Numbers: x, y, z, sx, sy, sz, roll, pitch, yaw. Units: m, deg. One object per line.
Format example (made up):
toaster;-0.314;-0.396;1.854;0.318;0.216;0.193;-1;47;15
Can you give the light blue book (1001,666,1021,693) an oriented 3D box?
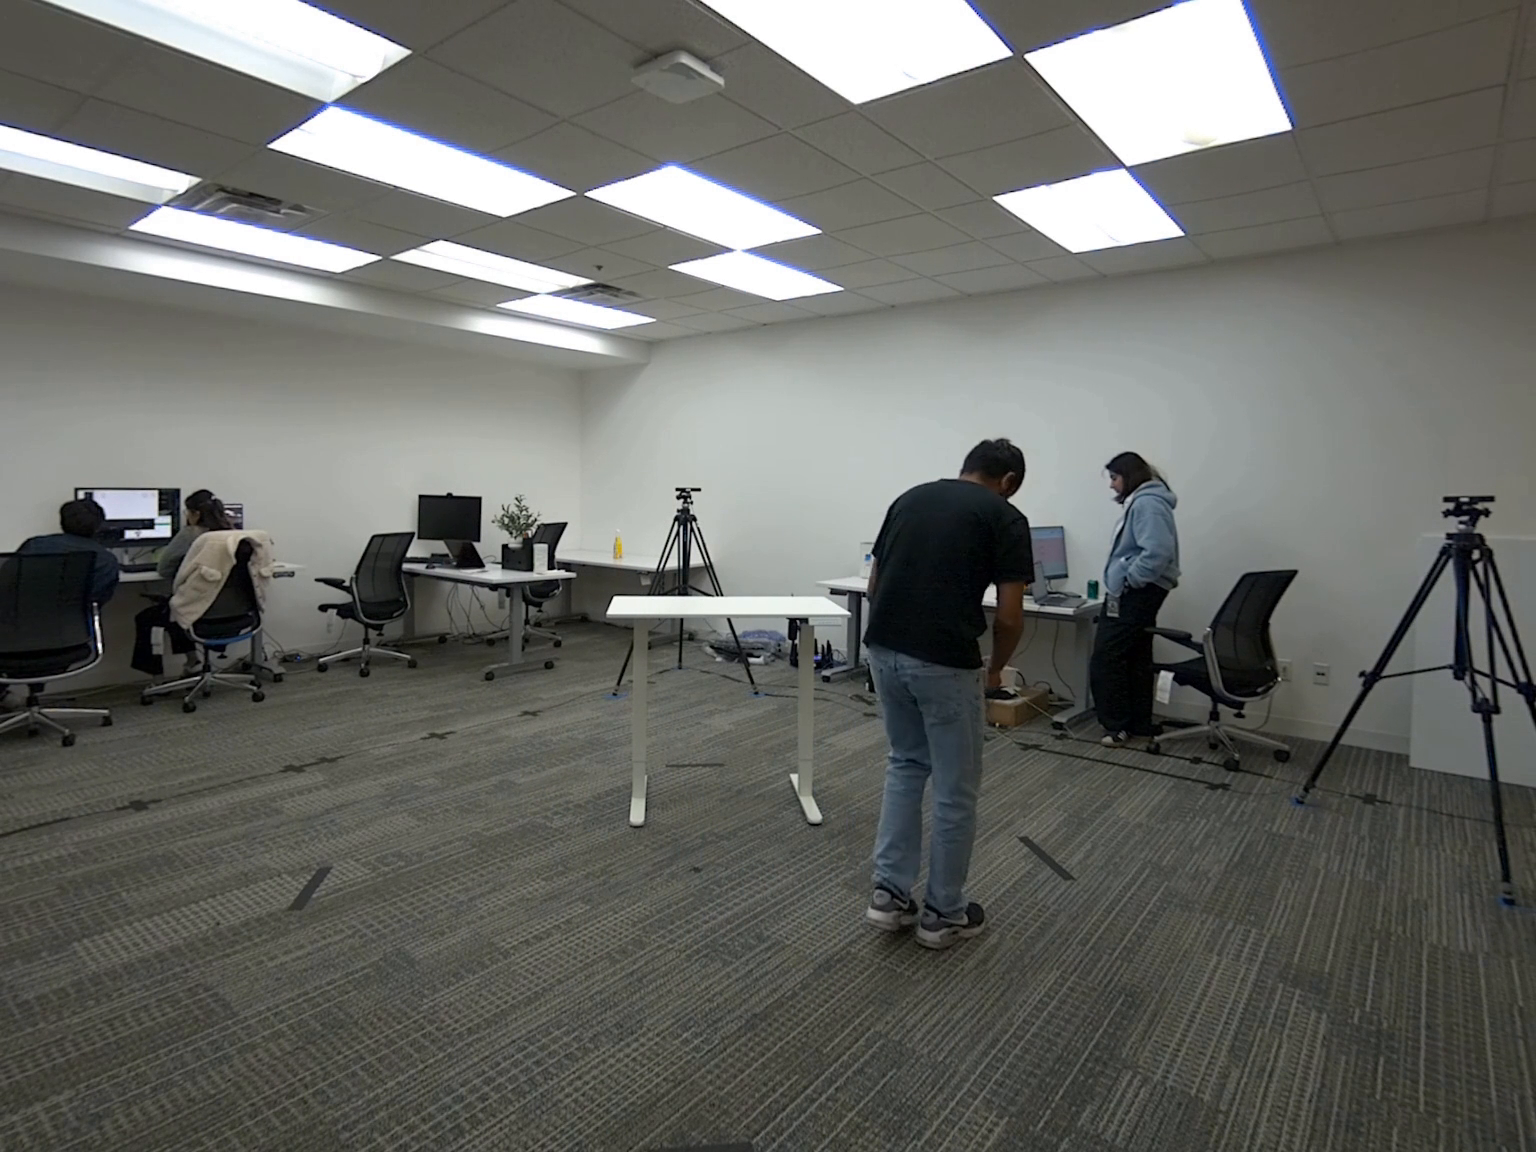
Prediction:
light blue book;0.685;0.326;2.868;0.198;0.059;0.252;9;4;41
